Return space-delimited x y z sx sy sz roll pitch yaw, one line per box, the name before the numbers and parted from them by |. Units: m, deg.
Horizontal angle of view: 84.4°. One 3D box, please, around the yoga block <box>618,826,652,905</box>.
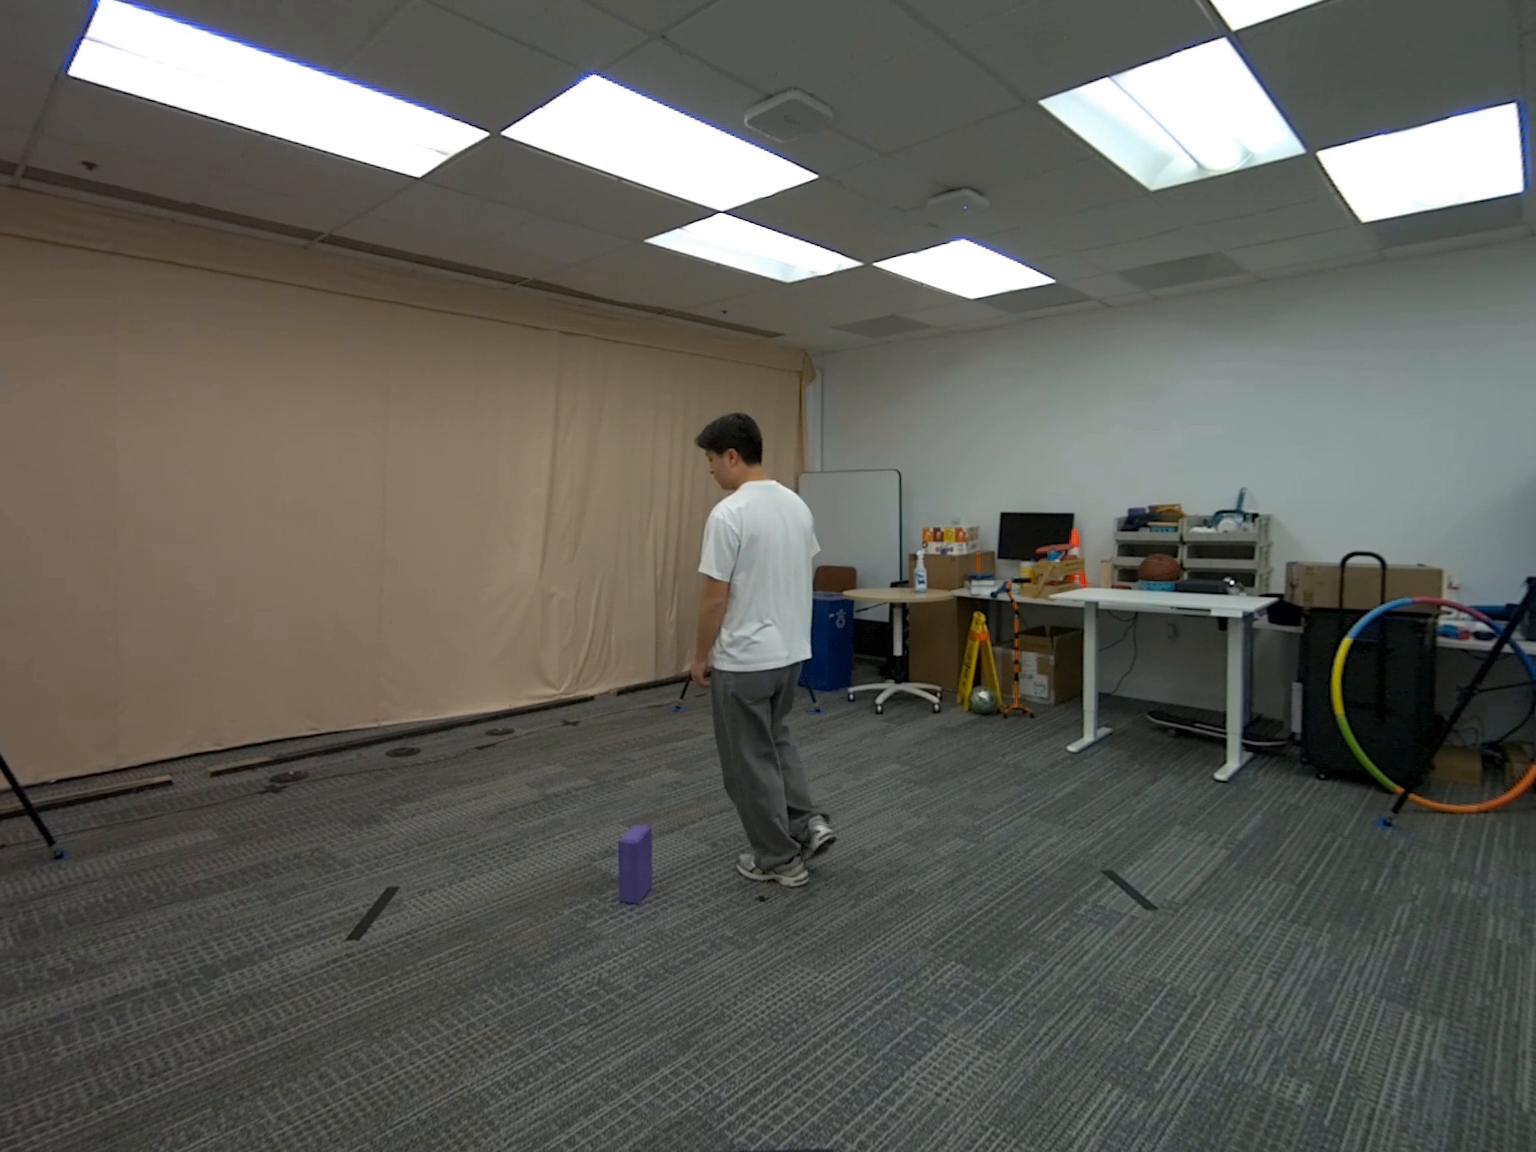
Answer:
yoga block | -0.465 1.029 3.008 0.077 0.229 0.147 0 3 11
